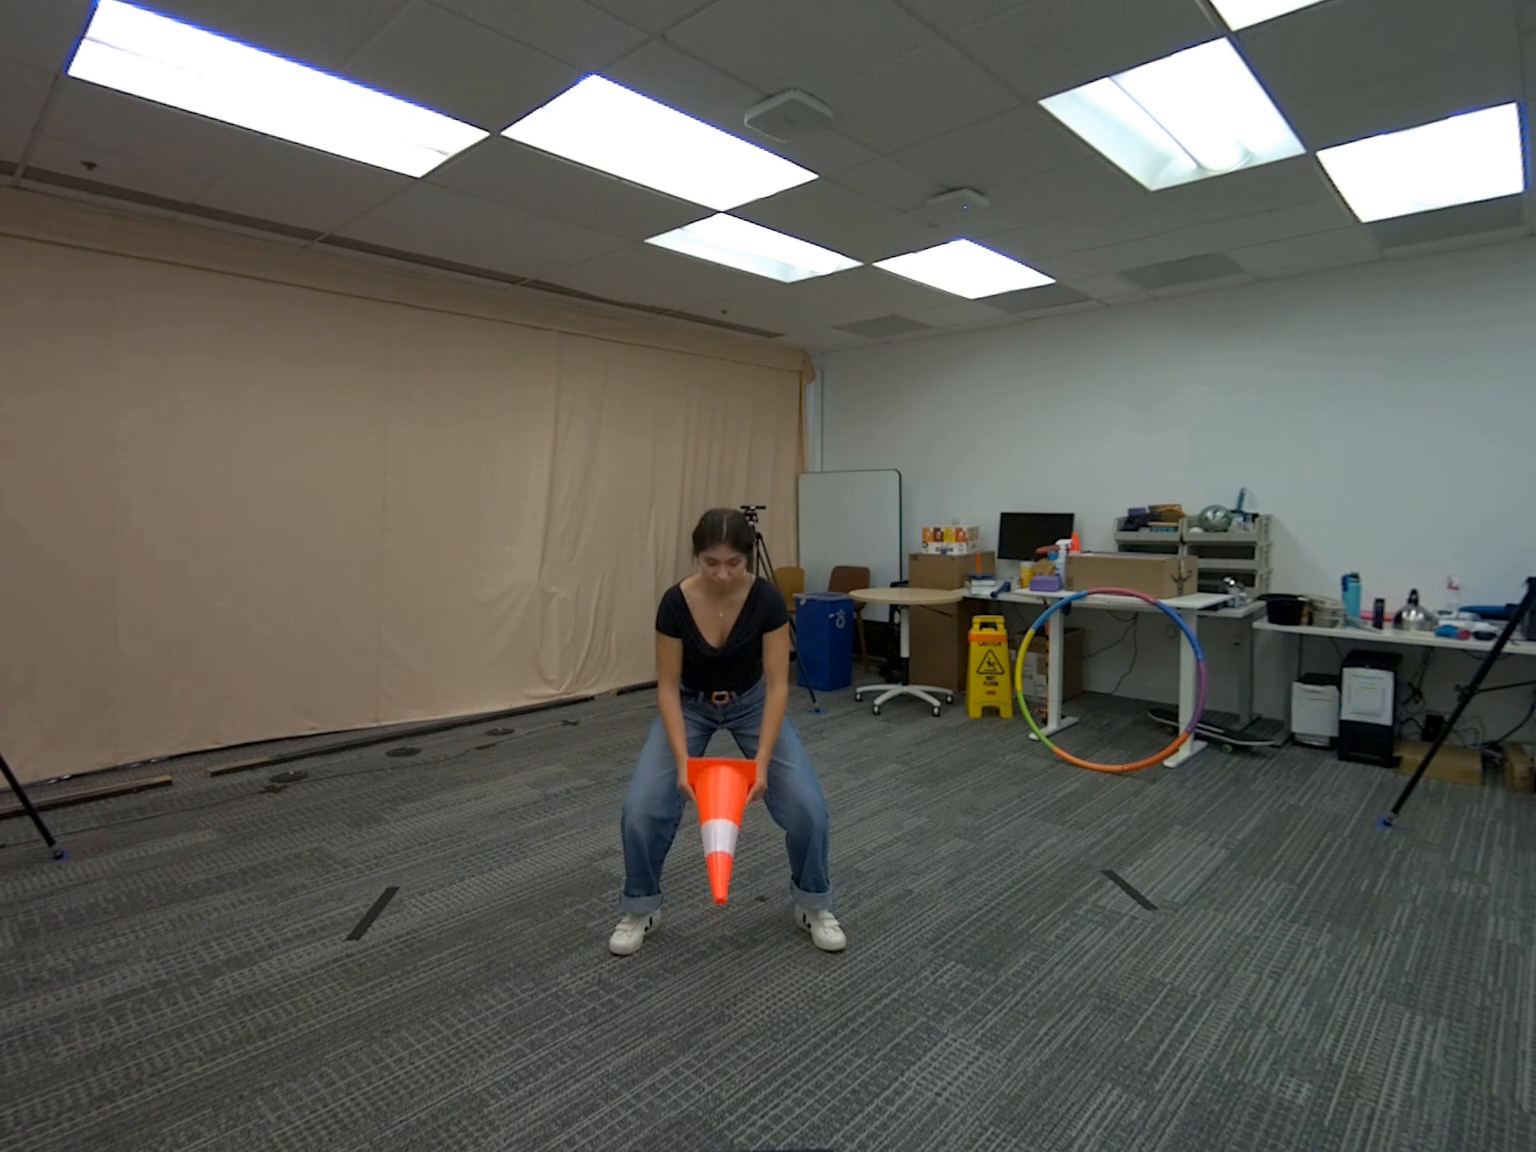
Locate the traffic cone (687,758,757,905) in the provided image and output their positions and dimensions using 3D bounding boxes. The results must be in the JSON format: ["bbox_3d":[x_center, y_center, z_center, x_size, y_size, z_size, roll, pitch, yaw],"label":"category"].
[{"bbox_3d":[-0.123,0.716,2.284,0.203,0.202,0.391,2,37,-4],"label":"traffic cone"}]
